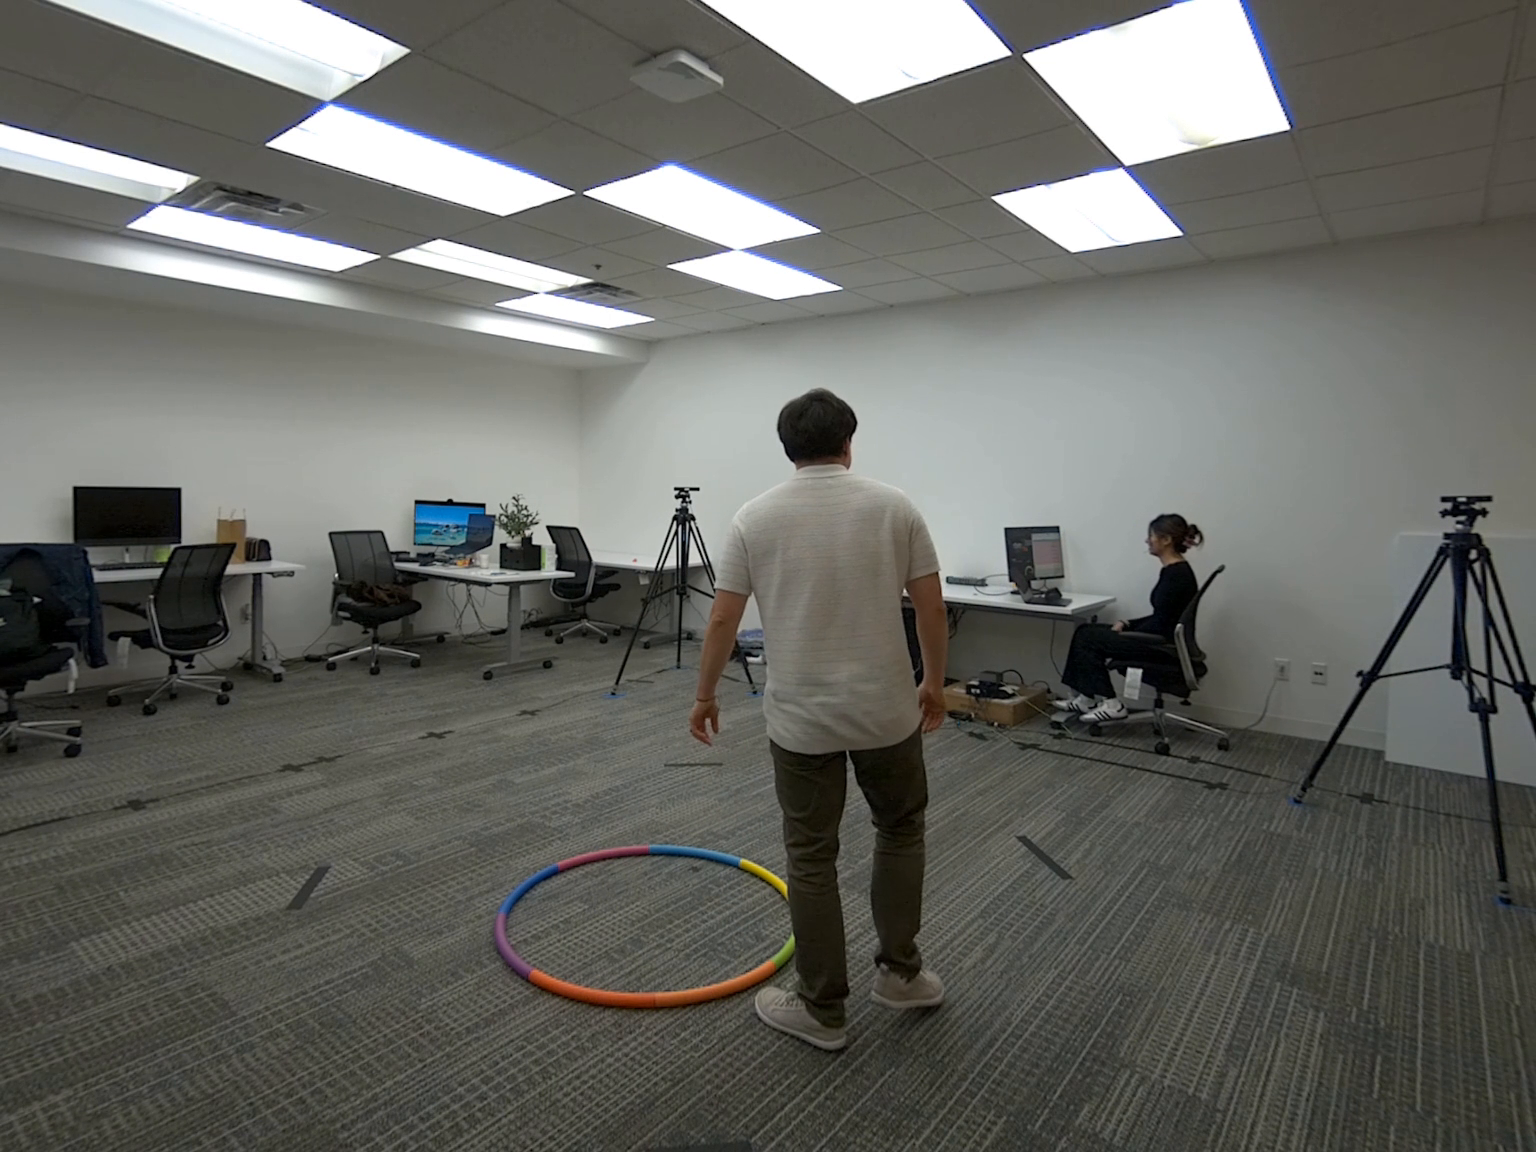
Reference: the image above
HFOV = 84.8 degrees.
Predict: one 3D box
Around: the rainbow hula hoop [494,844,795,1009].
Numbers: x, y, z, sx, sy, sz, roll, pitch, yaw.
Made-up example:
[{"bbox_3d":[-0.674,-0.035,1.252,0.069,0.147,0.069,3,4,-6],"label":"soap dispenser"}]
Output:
[{"bbox_3d":[-0.383,1.070,2.753,0.978,0.035,0.984,1,6,-2],"label":"rainbow hula hoop"}]
